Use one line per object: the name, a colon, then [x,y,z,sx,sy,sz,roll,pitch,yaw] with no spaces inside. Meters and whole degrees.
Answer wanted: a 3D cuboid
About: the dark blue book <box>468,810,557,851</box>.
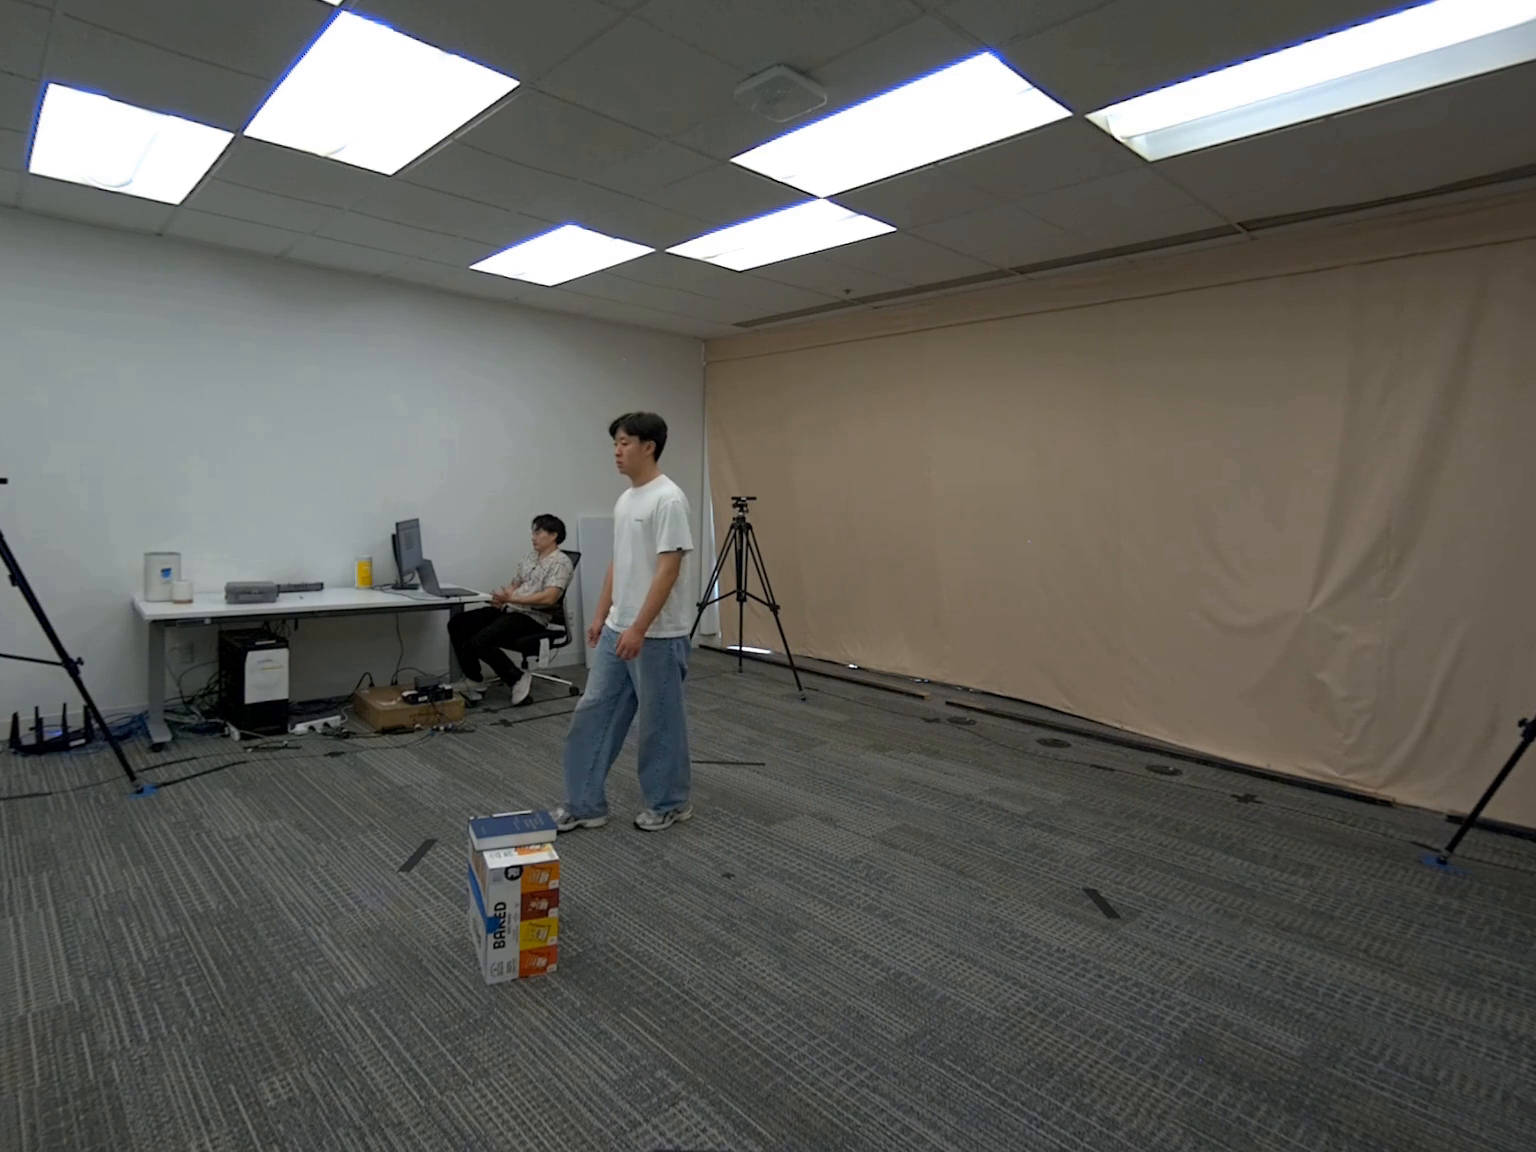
dark blue book: [-0.800,0.785,2.574,0.240,0.045,0.167,1,4,-27]
